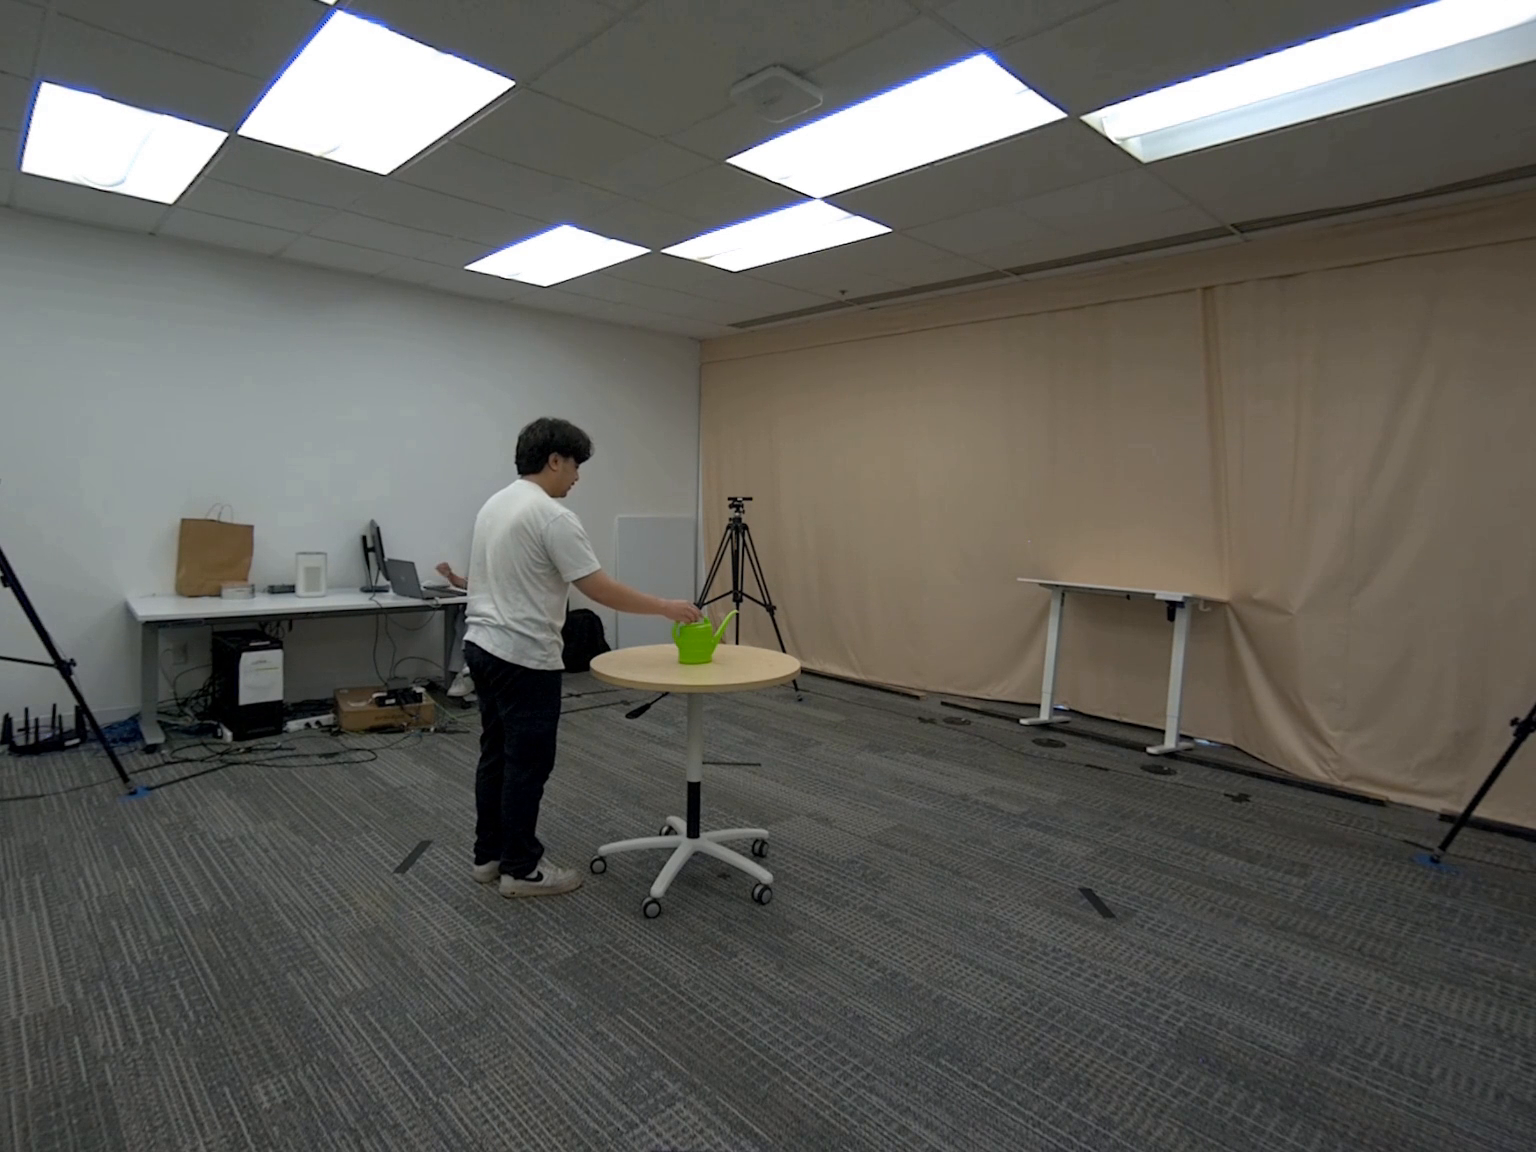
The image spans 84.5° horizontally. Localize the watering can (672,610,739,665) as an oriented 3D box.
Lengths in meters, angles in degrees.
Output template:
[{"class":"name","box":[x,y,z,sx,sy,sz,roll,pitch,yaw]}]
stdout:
[{"class":"watering can","box":[-0.238,0.228,3.077,0.274,0.176,0.100,-3,10,-19]}]
